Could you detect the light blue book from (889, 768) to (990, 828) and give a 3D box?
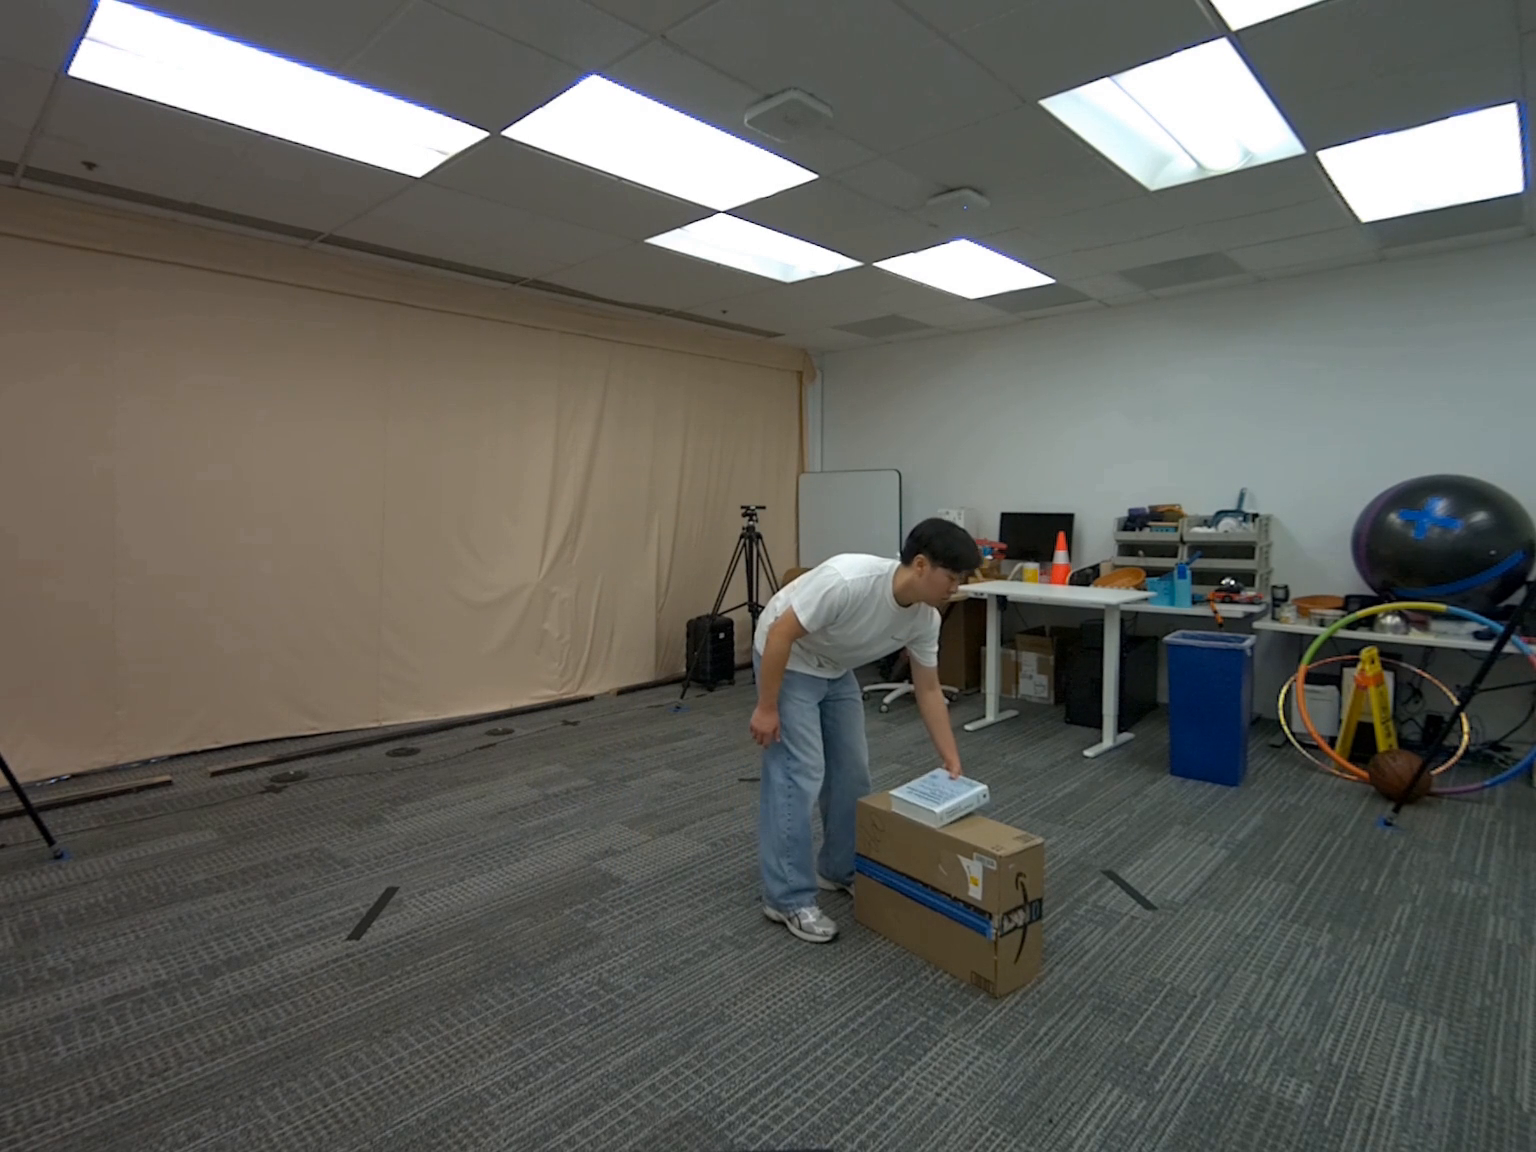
[{"bbox_3d":[0.552,0.697,2.675,0.254,0.058,0.198,-10,13,-37],"label":"light blue book"}]
